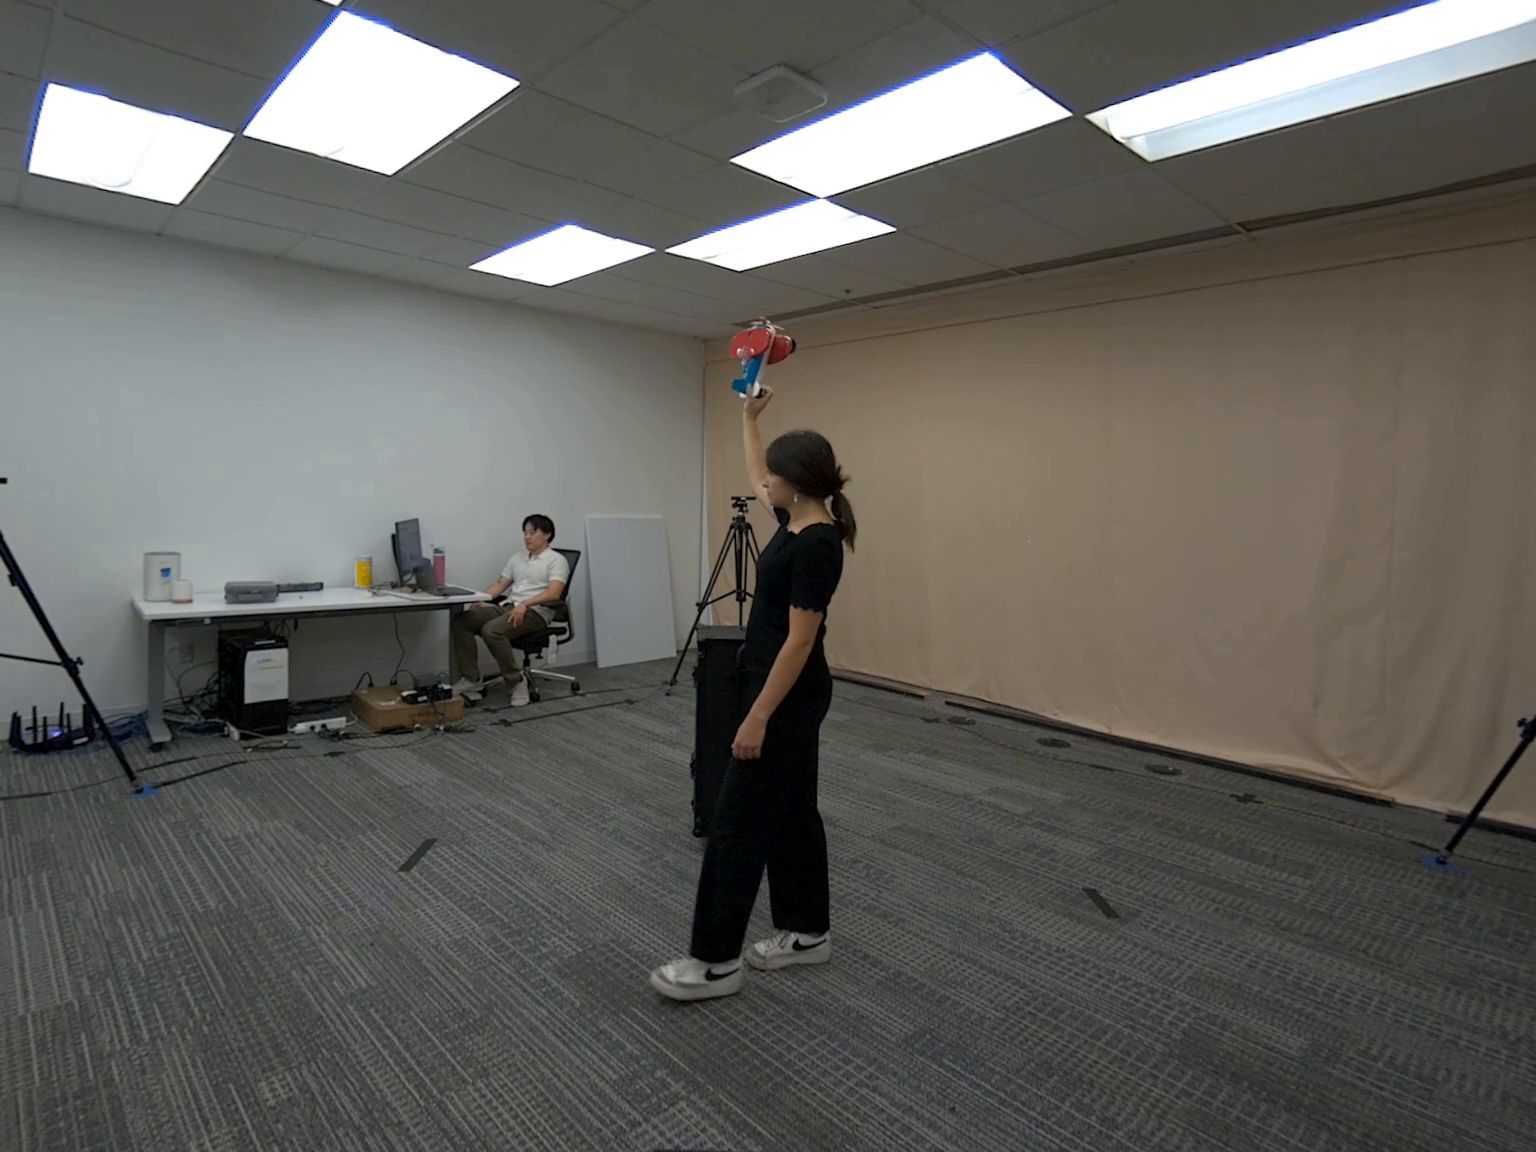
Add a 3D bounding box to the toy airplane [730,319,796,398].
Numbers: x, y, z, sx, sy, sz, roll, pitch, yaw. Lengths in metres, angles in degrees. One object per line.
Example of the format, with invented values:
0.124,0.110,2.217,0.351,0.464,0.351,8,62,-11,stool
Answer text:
-0.026,-0.723,2.805,0.152,0.263,0.254,31,-36,-30,toy airplane
